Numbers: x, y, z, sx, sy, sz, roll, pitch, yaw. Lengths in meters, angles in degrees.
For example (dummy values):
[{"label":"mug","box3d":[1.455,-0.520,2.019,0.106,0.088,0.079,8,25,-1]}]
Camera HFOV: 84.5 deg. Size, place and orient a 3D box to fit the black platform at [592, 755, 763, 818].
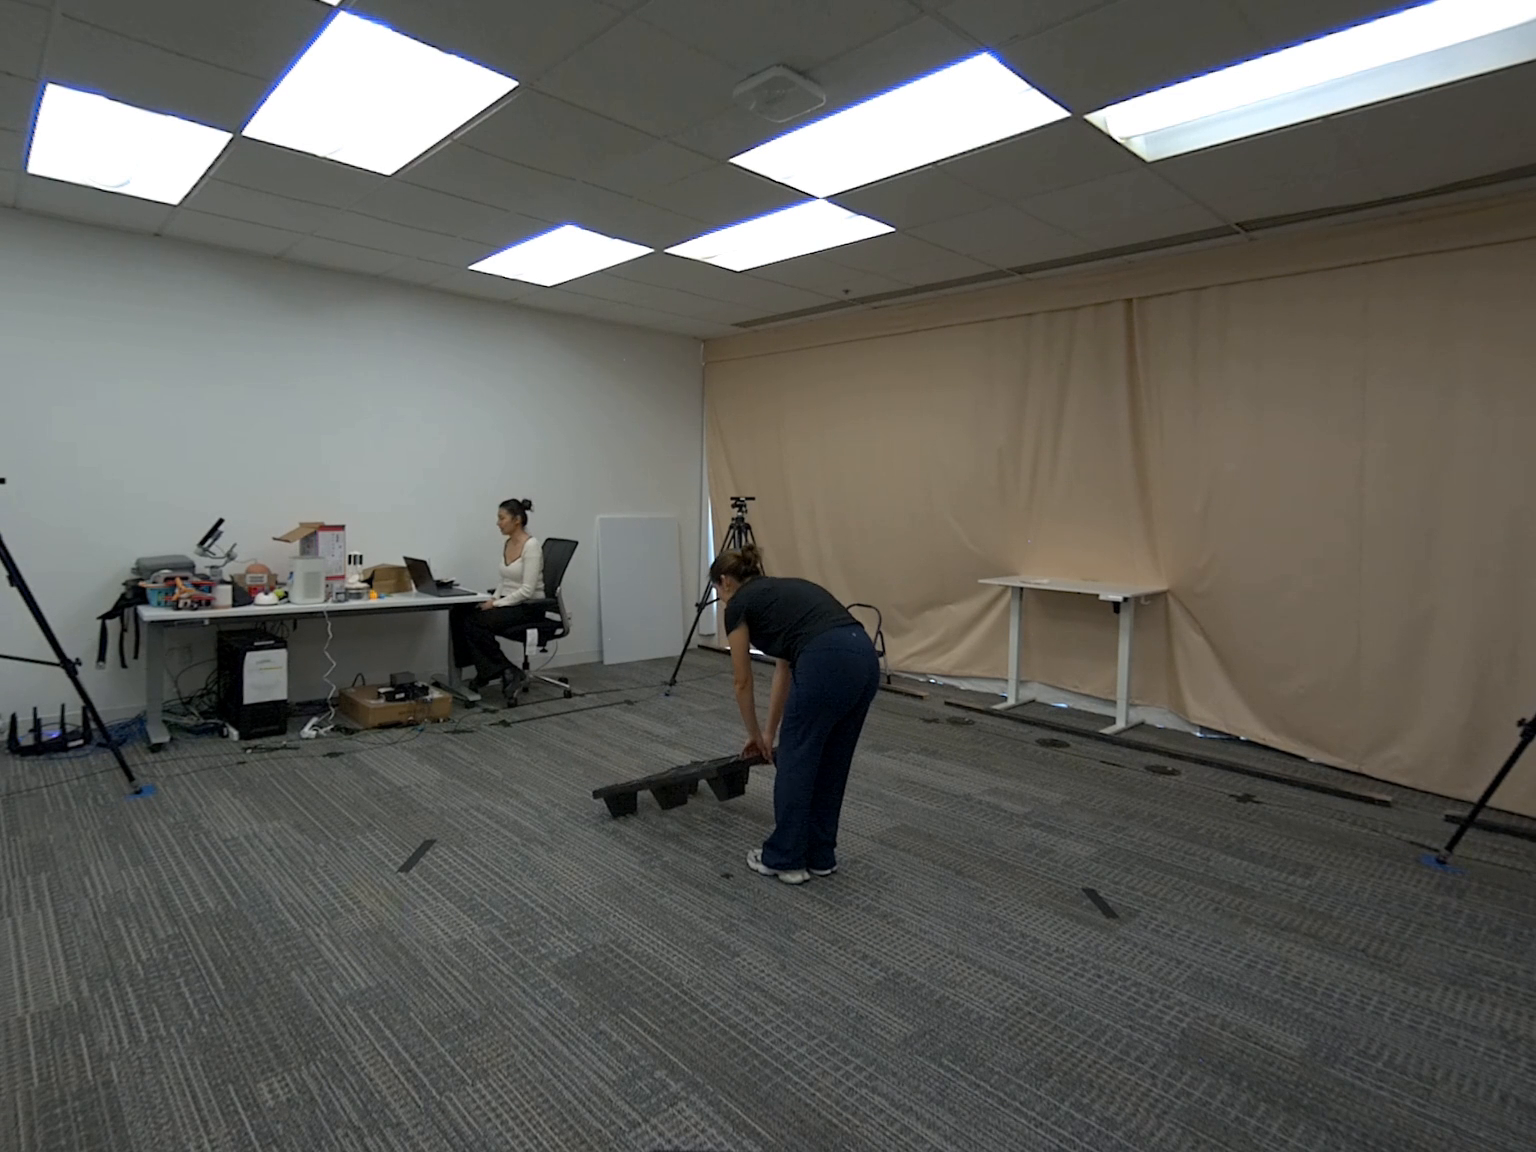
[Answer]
[{"label":"black platform","box3d":[-0.285,0.881,3.571,0.816,0.144,0.592,-22,-11,41]}]
